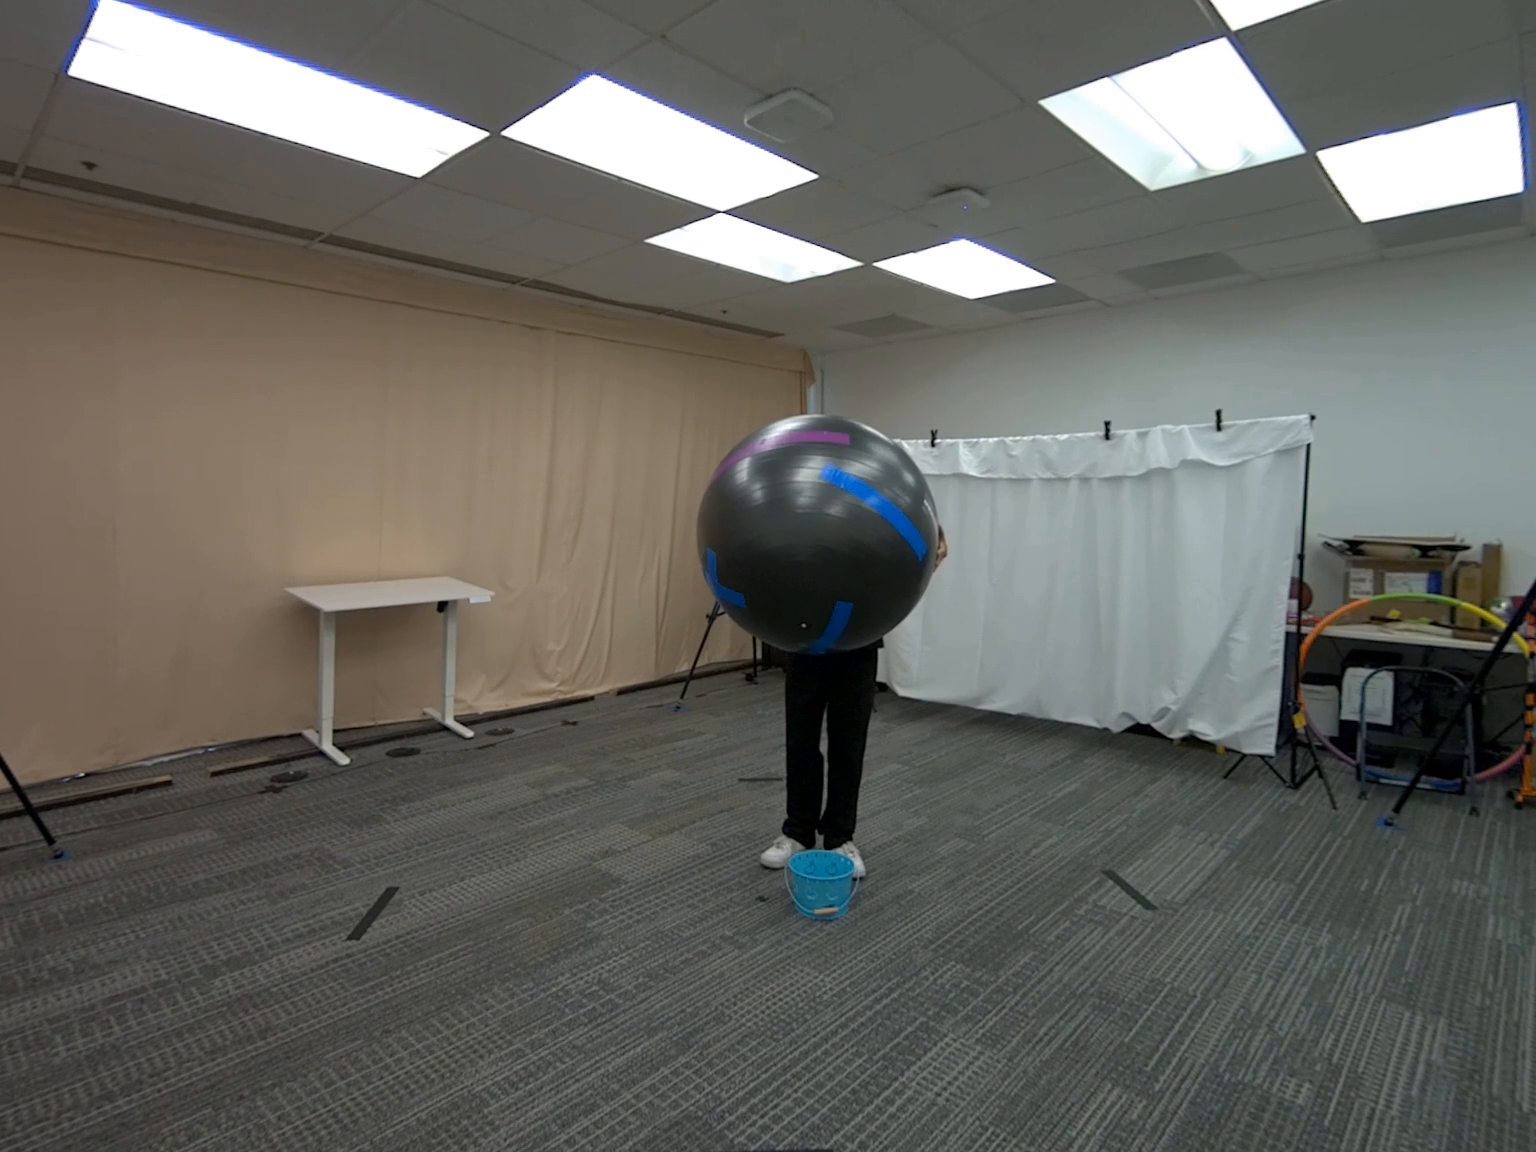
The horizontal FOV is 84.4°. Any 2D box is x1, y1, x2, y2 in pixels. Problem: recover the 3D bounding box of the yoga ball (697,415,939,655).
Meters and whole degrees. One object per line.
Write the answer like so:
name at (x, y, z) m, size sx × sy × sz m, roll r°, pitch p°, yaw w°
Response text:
yoga ball at (0.152, -0.127, 2.685) m, size 0.757 × 0.756 × 0.761 m, roll 0°, pitch 4°, yaw -2°
